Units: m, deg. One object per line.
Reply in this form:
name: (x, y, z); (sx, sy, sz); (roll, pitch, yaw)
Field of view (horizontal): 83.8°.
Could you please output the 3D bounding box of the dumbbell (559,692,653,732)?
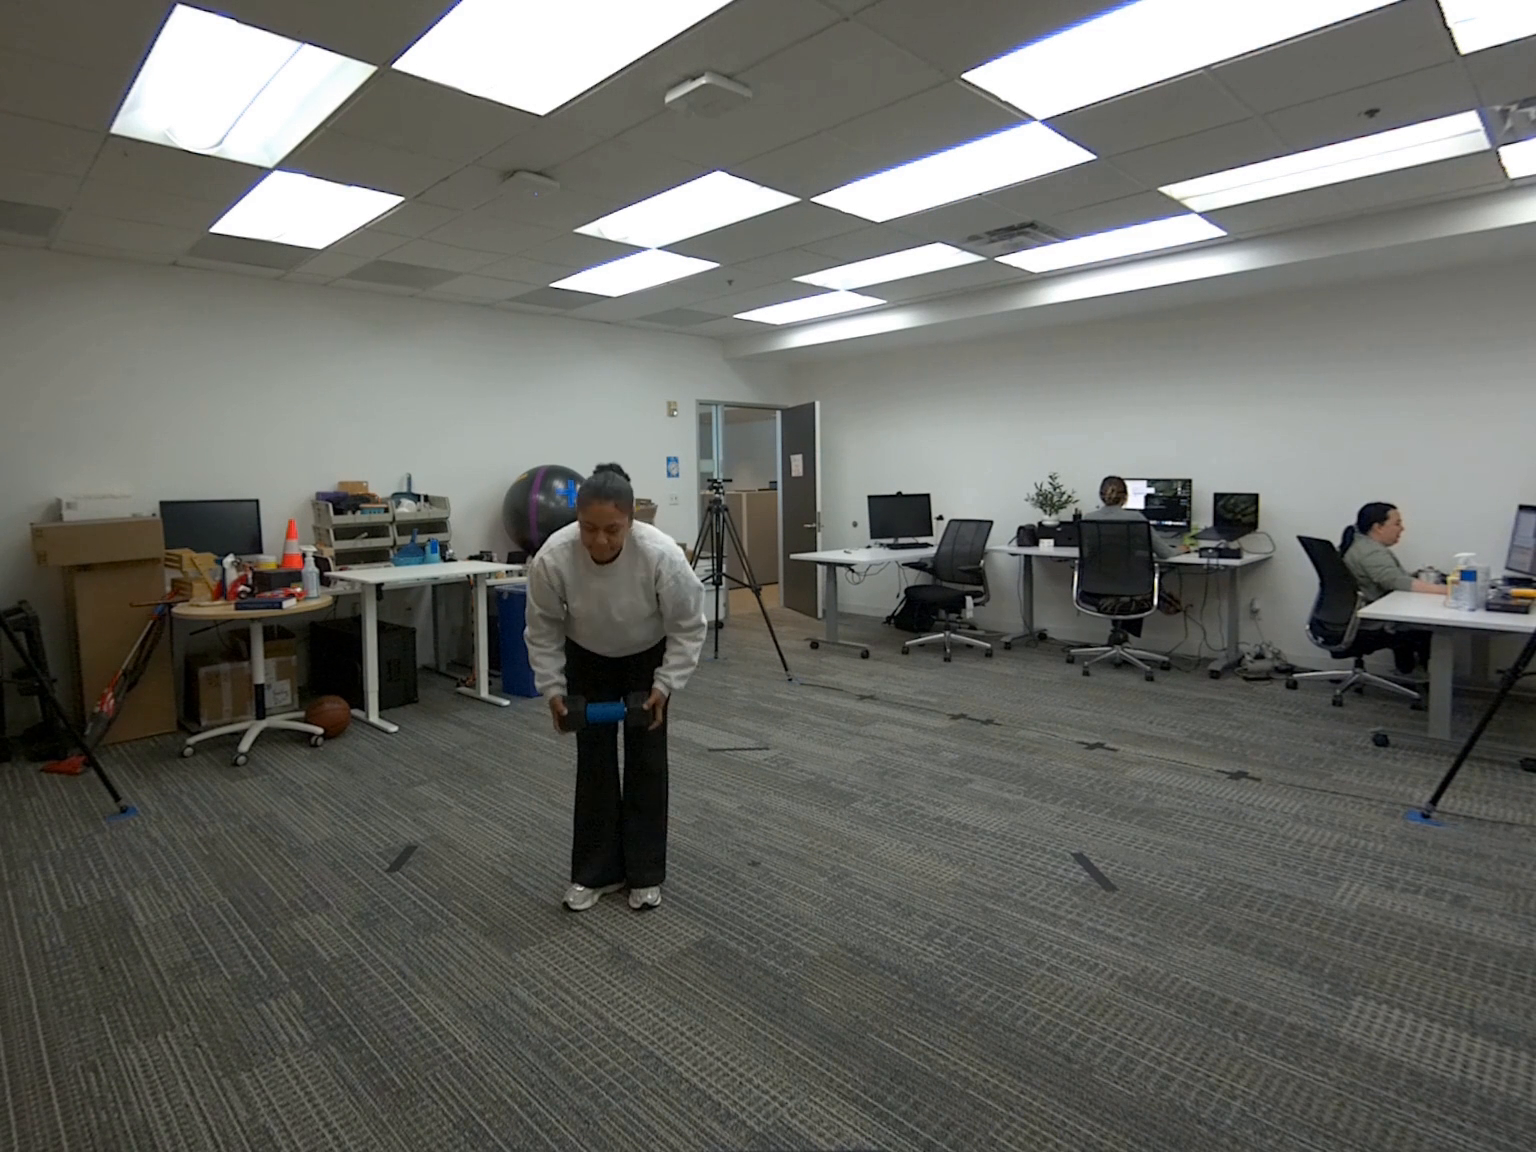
dumbbell: (-0.521, 0.440, 2.742); (0.293, 0.122, 0.110); (-2, 11, -2)
